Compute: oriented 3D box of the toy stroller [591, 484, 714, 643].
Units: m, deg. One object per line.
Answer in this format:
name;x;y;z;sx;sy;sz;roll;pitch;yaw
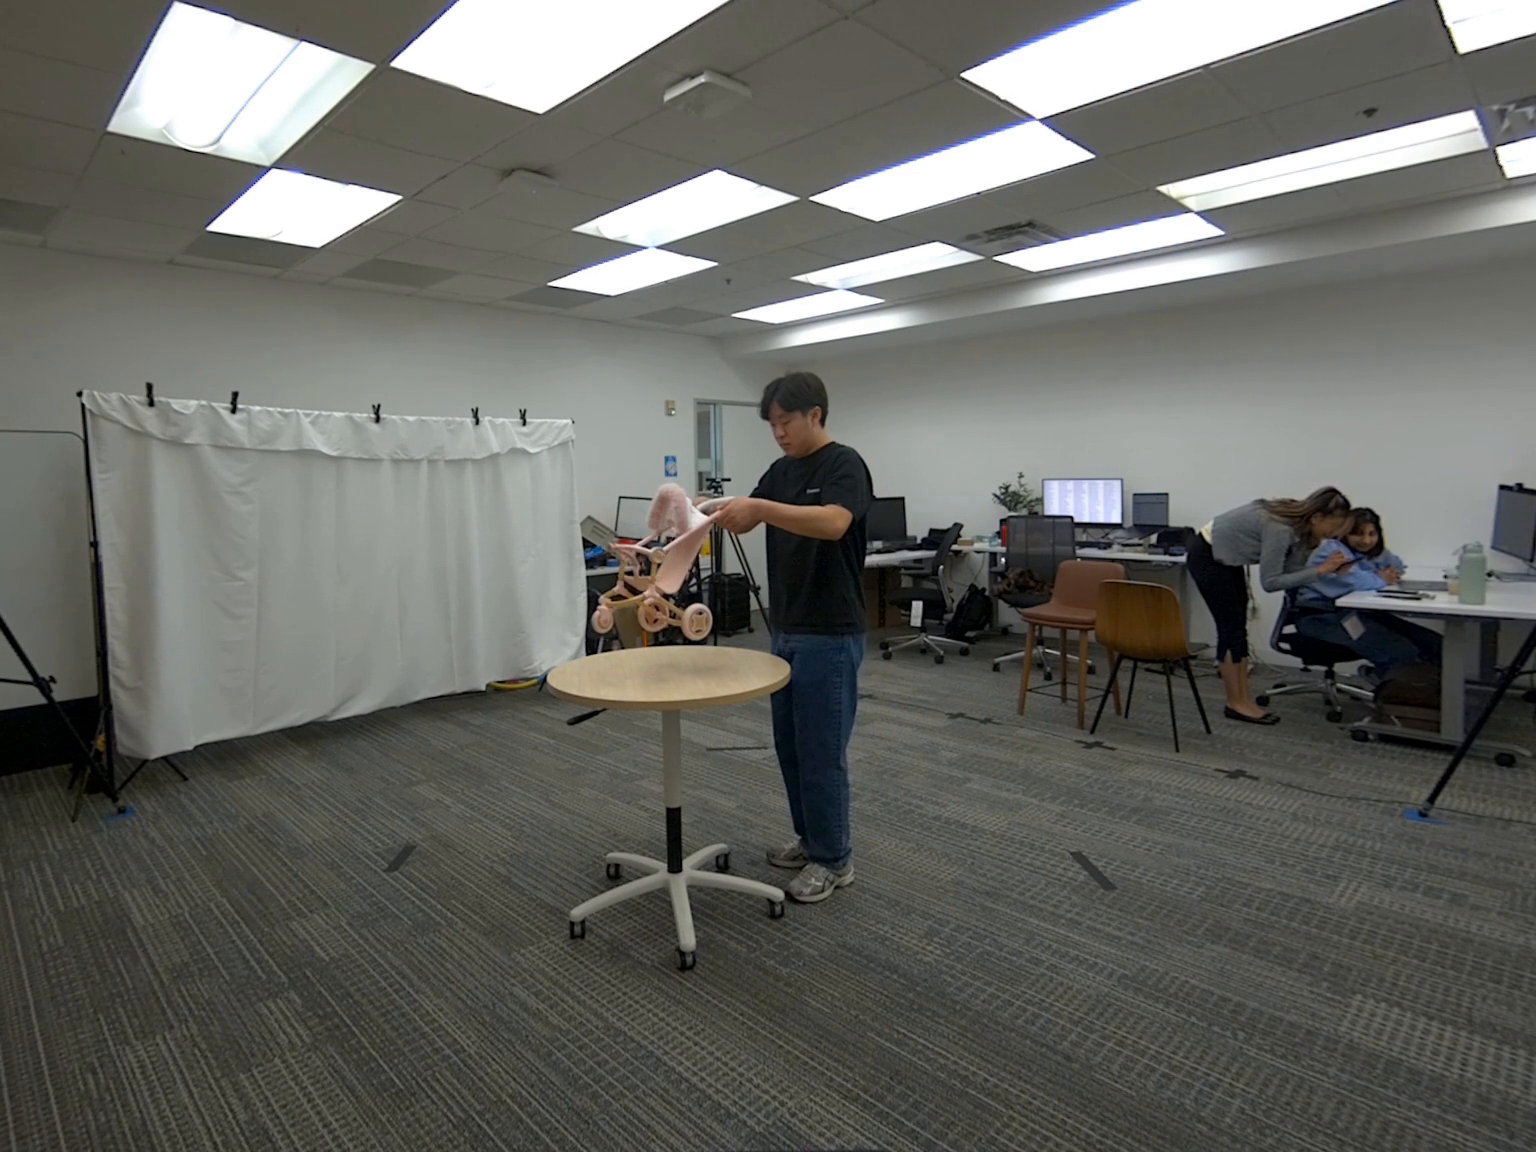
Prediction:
toy stroller;-0.328;-0.046;2.644;0.331;0.538;0.289;22;-11;-30
